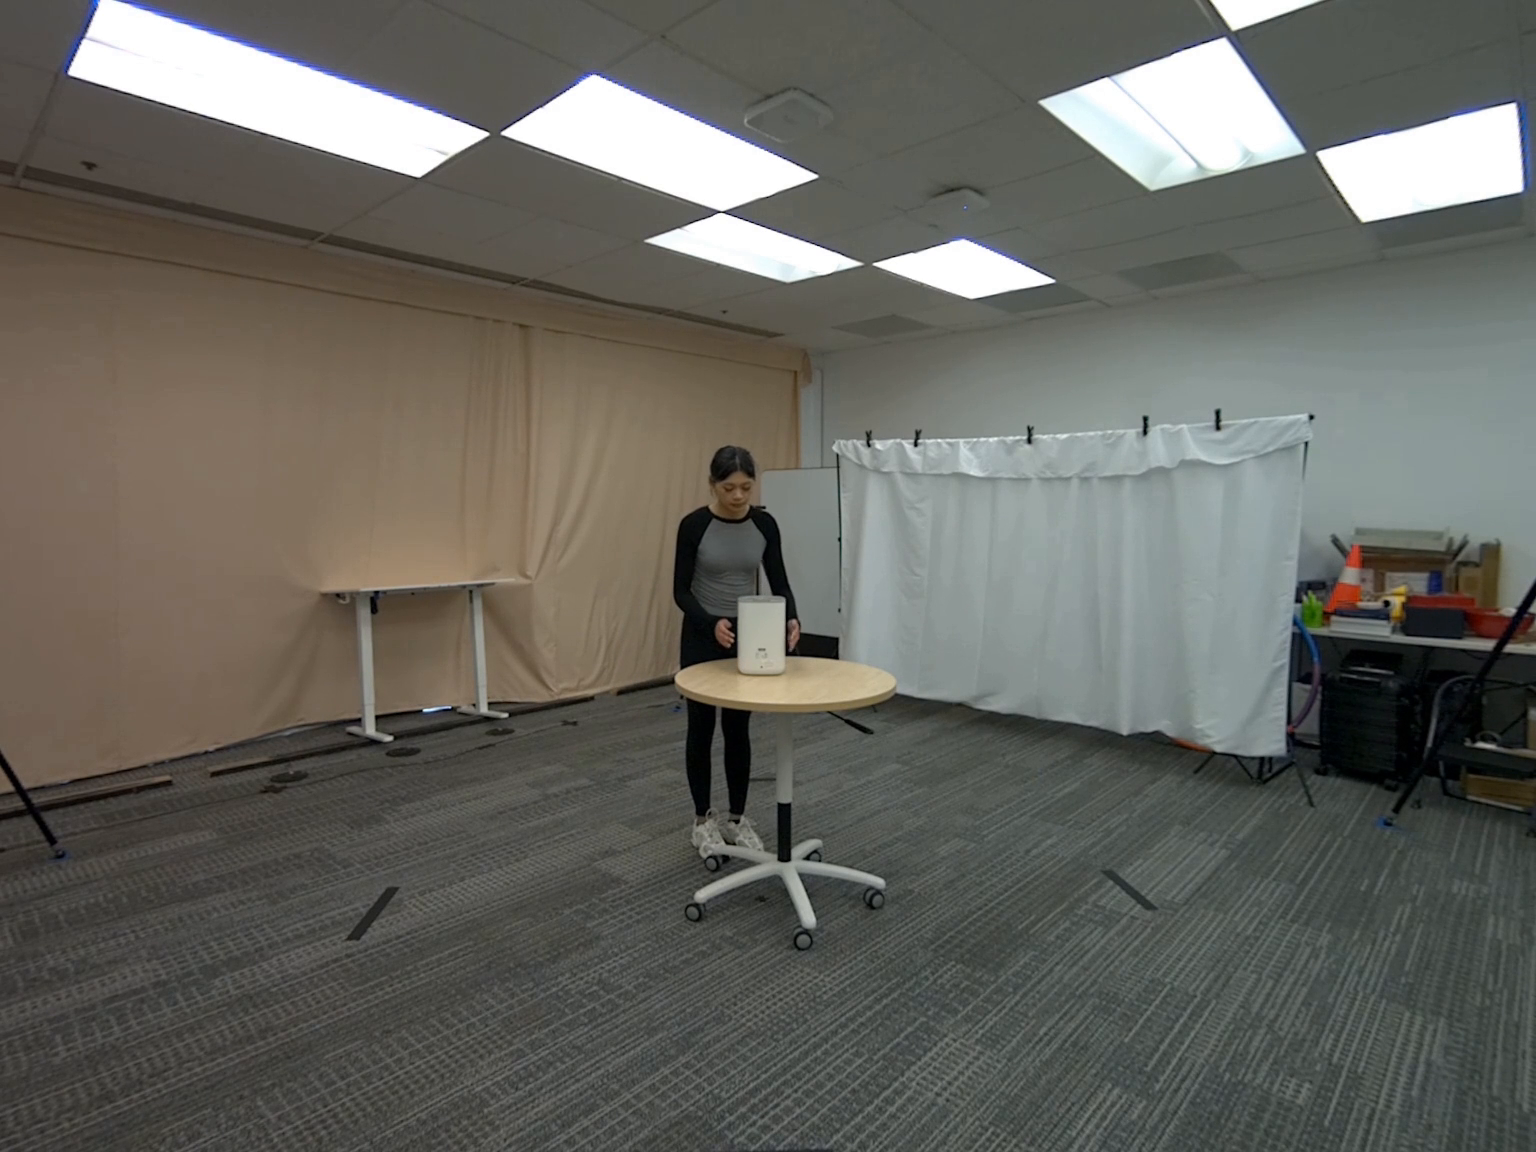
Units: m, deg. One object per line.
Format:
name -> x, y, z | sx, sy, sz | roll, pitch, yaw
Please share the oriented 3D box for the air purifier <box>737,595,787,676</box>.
air purifier -> -0.022, 0.215, 3.024 | 0.171, 0.265, 0.172 | -1, 3, 0
